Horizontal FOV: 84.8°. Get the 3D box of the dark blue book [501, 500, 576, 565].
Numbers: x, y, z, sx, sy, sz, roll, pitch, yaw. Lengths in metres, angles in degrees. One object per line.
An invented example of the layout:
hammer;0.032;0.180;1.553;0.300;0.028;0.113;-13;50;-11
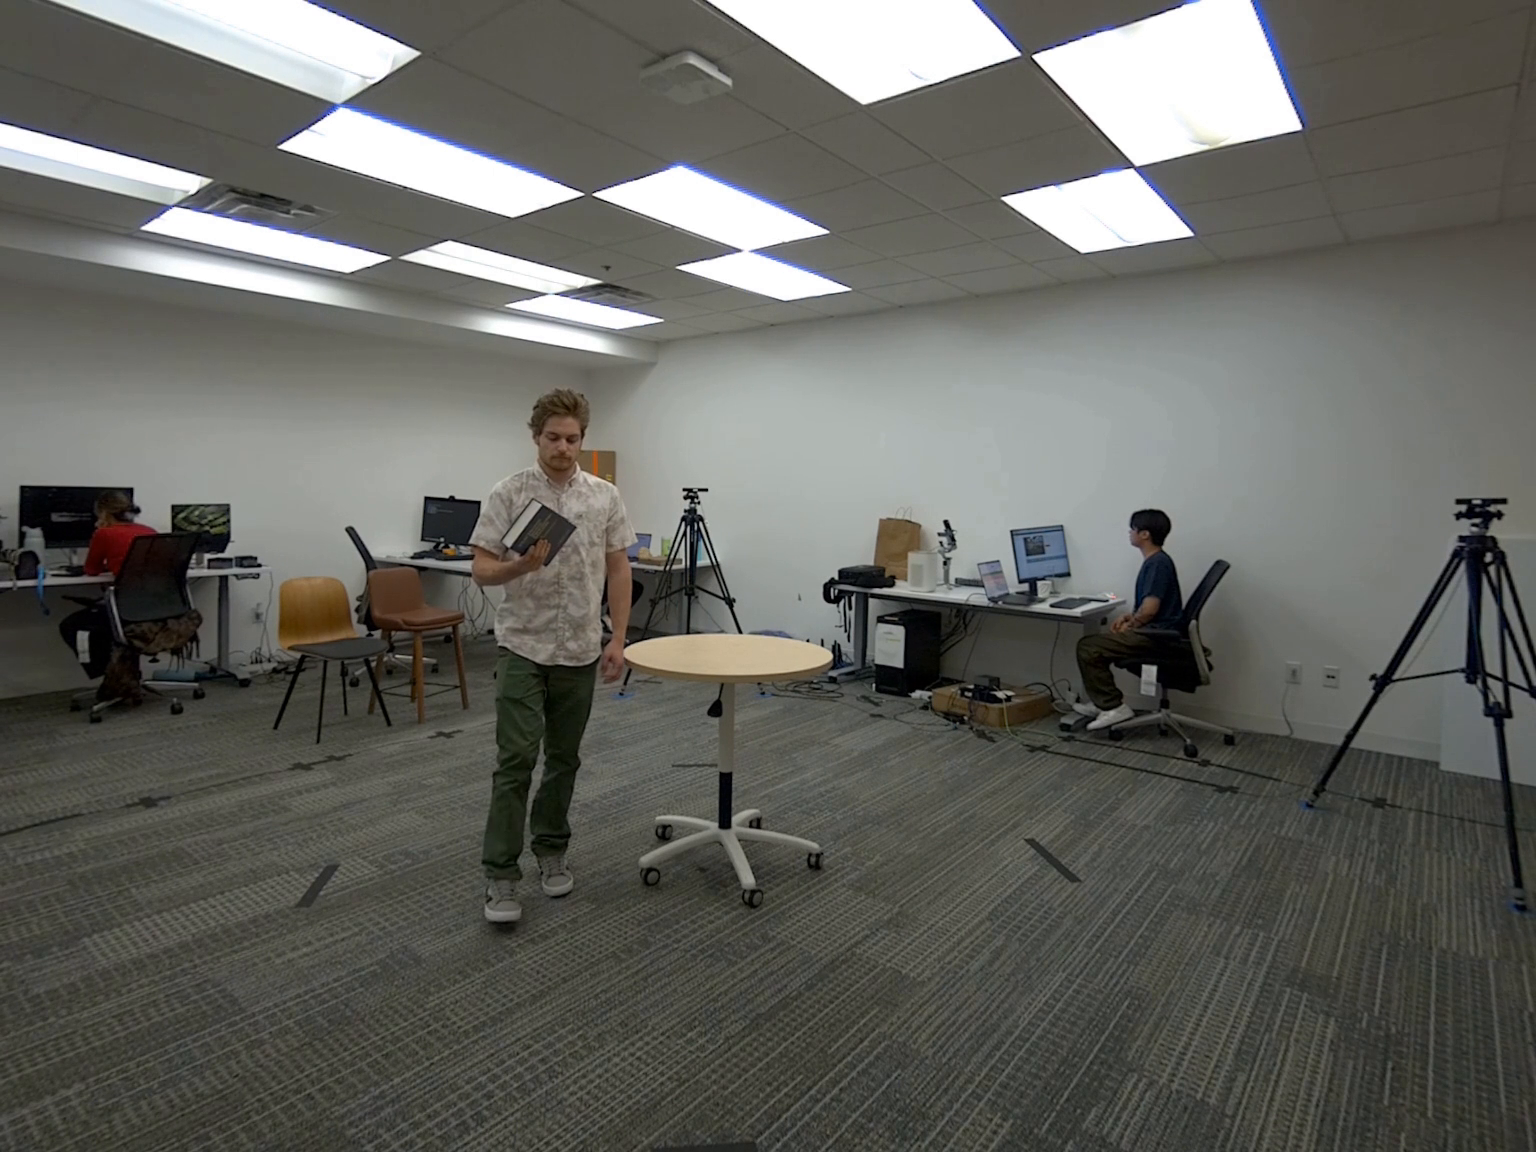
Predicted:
dark blue book;-0.721;-0.134;2.611;0.046;0.163;0.238;35;-3;19
